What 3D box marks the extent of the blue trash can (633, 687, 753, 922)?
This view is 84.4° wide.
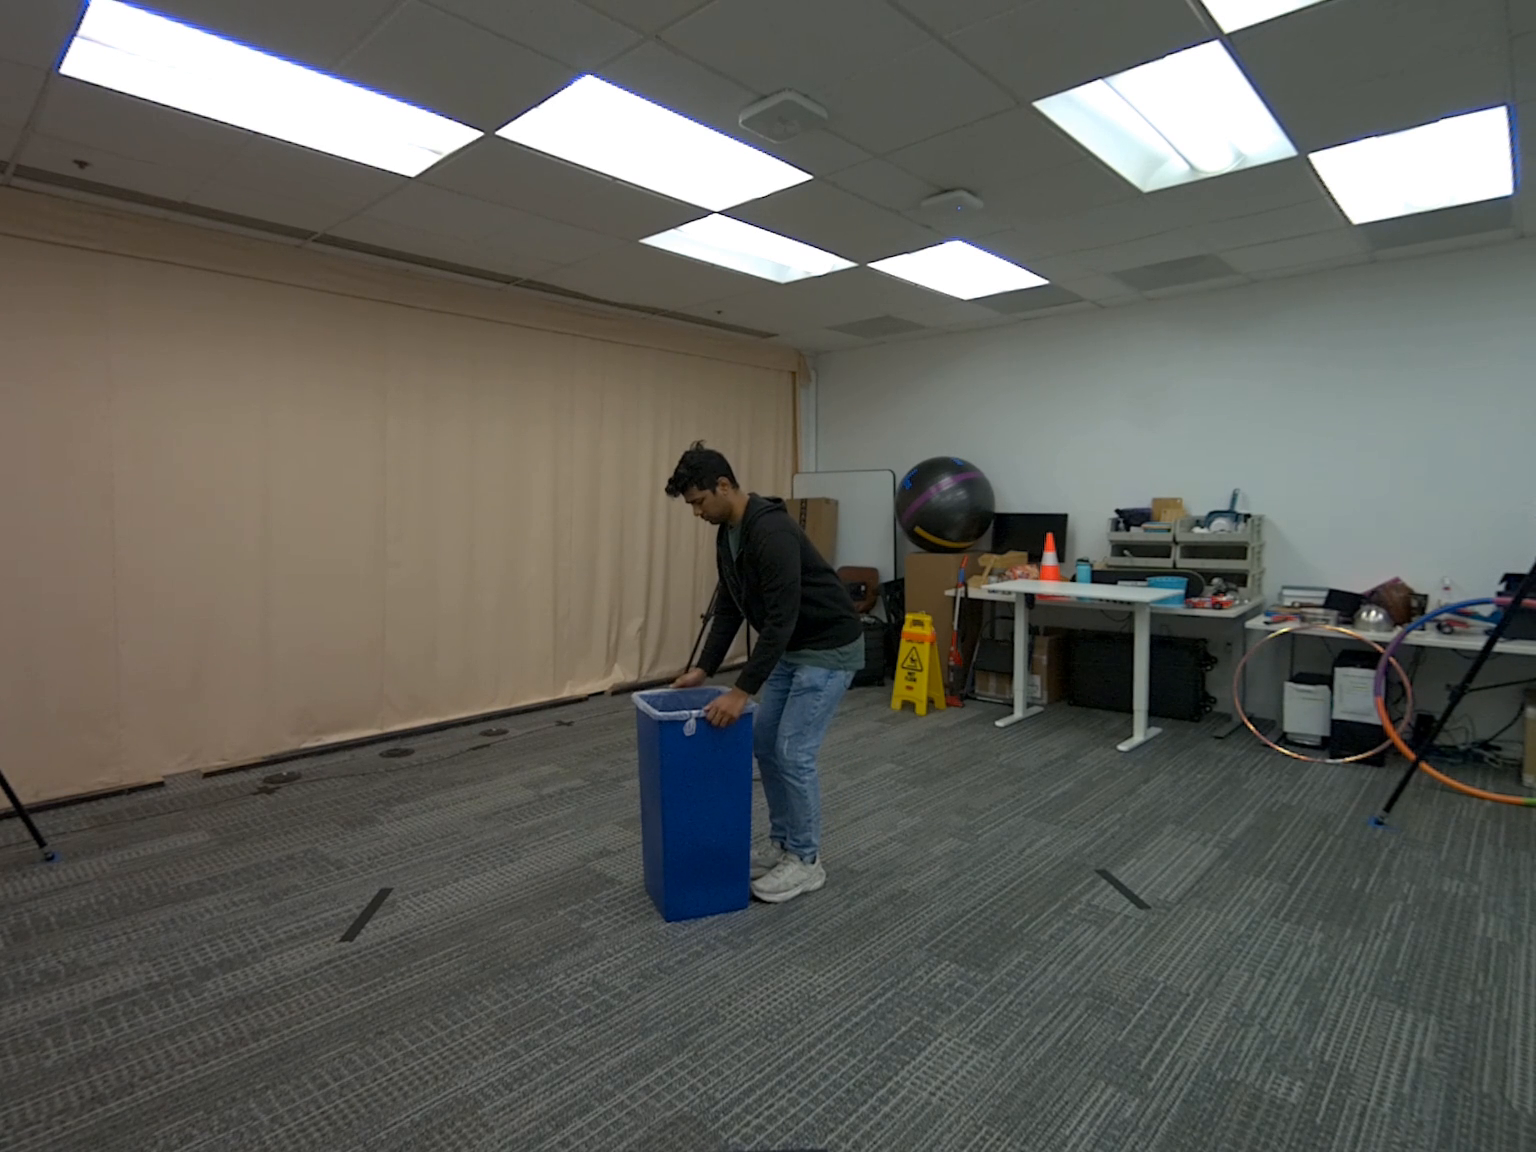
[{"bbox_3d":[-0.266,0.786,2.987,0.370,0.712,0.383,-1,3,-21],"label":"blue trash can"}]
